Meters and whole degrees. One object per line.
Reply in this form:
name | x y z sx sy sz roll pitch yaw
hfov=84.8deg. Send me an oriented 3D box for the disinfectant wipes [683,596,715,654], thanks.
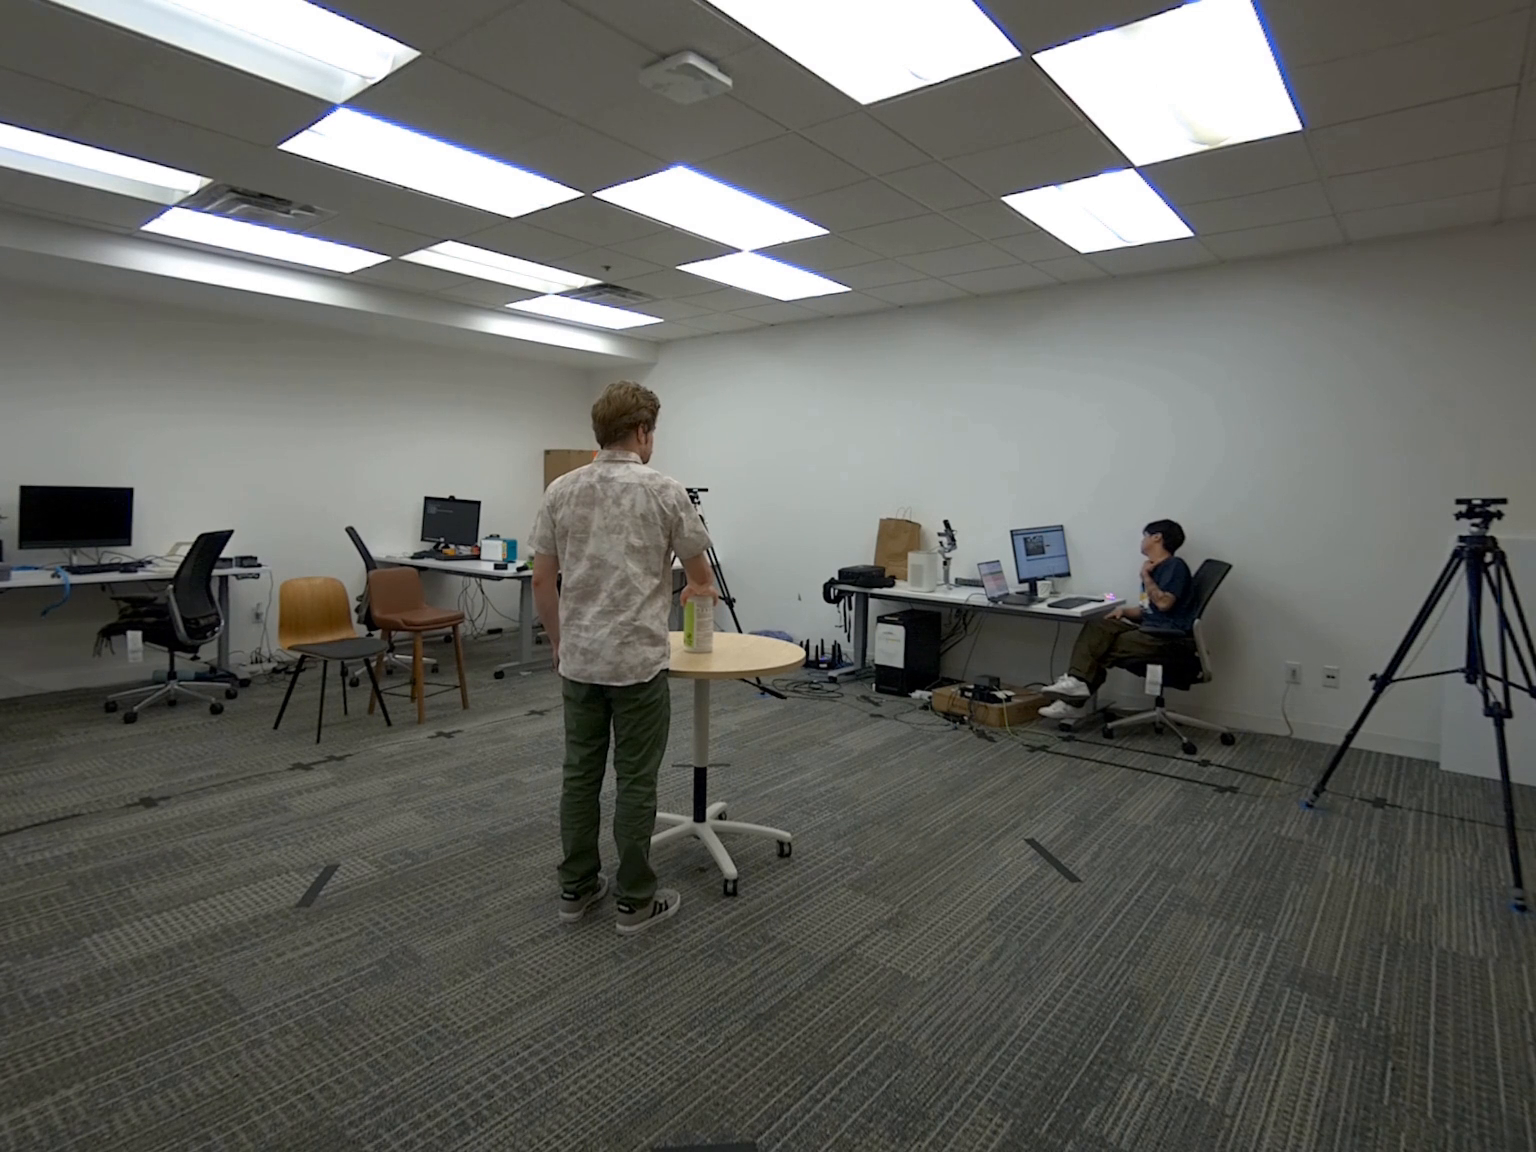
disinfectant wipes | -0.264 0.169 3.136 0.118 0.217 0.118 1 2 -2
